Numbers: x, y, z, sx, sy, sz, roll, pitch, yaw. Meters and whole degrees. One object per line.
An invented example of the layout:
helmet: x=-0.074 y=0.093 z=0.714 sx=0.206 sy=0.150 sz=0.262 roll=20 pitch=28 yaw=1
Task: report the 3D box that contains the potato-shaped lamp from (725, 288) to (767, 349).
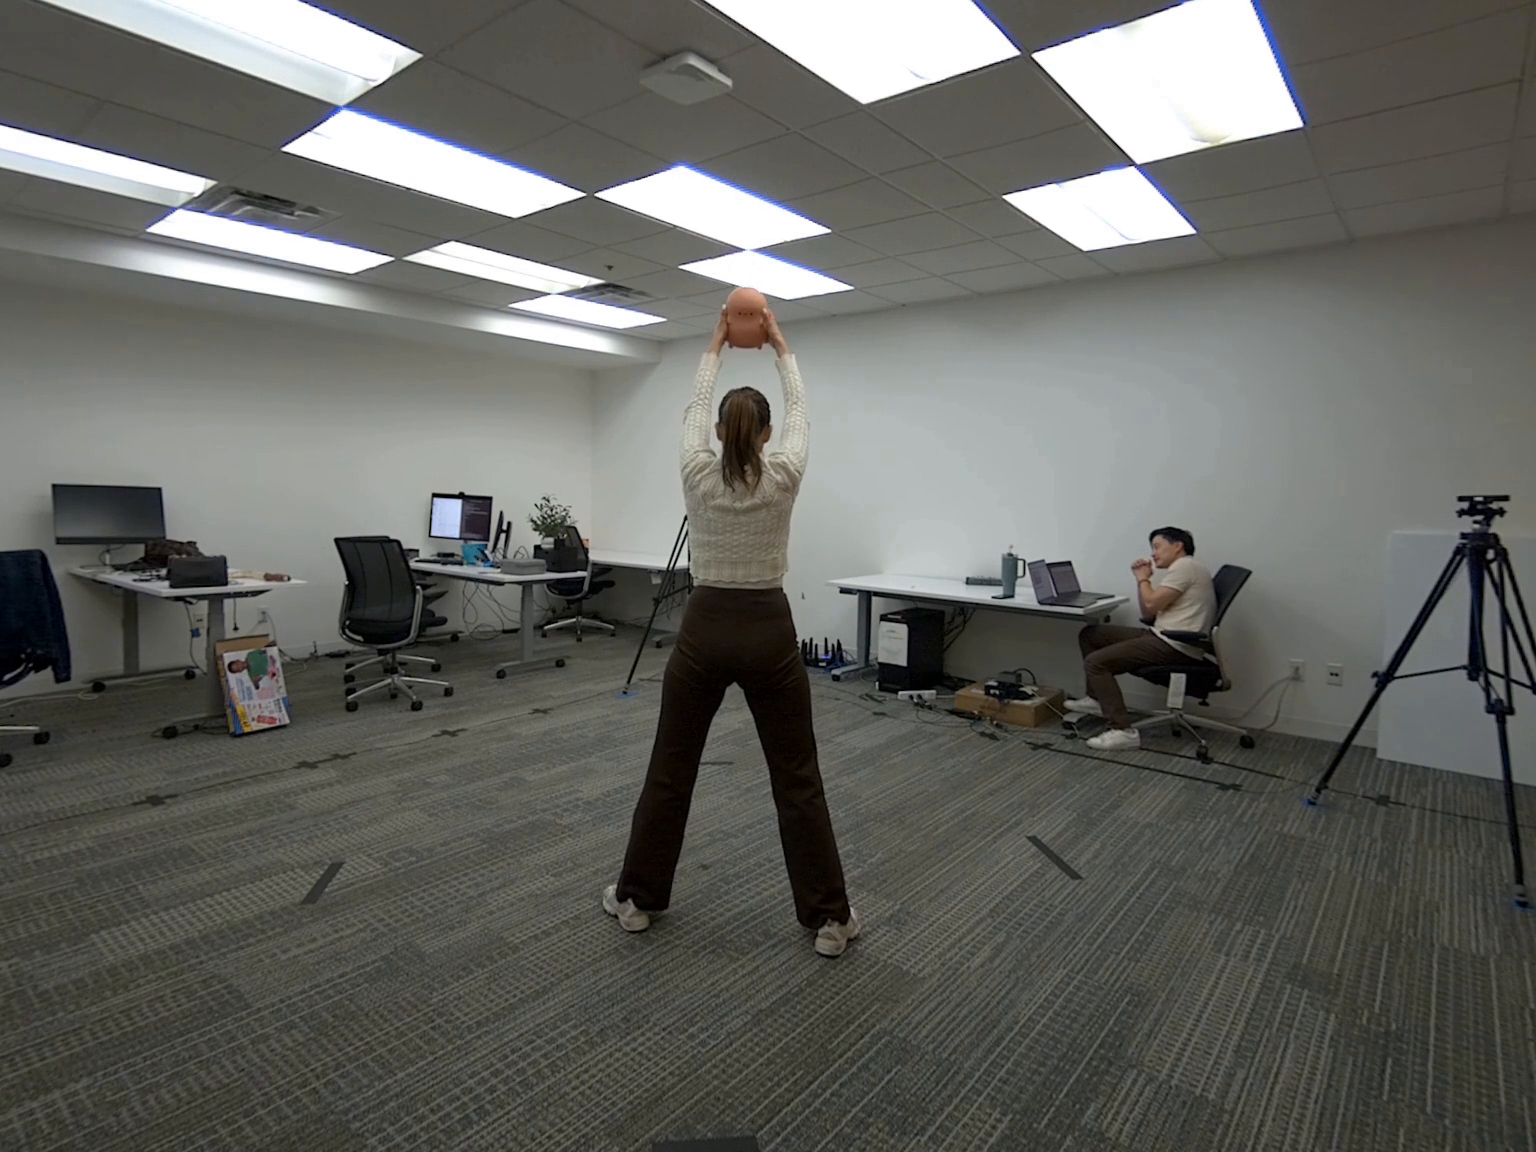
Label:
potato-shaped lamp: x=-0.081 y=-0.903 z=2.956 sx=0.166 sy=0.193 sz=0.175 roll=9 pitch=47 yaw=4
